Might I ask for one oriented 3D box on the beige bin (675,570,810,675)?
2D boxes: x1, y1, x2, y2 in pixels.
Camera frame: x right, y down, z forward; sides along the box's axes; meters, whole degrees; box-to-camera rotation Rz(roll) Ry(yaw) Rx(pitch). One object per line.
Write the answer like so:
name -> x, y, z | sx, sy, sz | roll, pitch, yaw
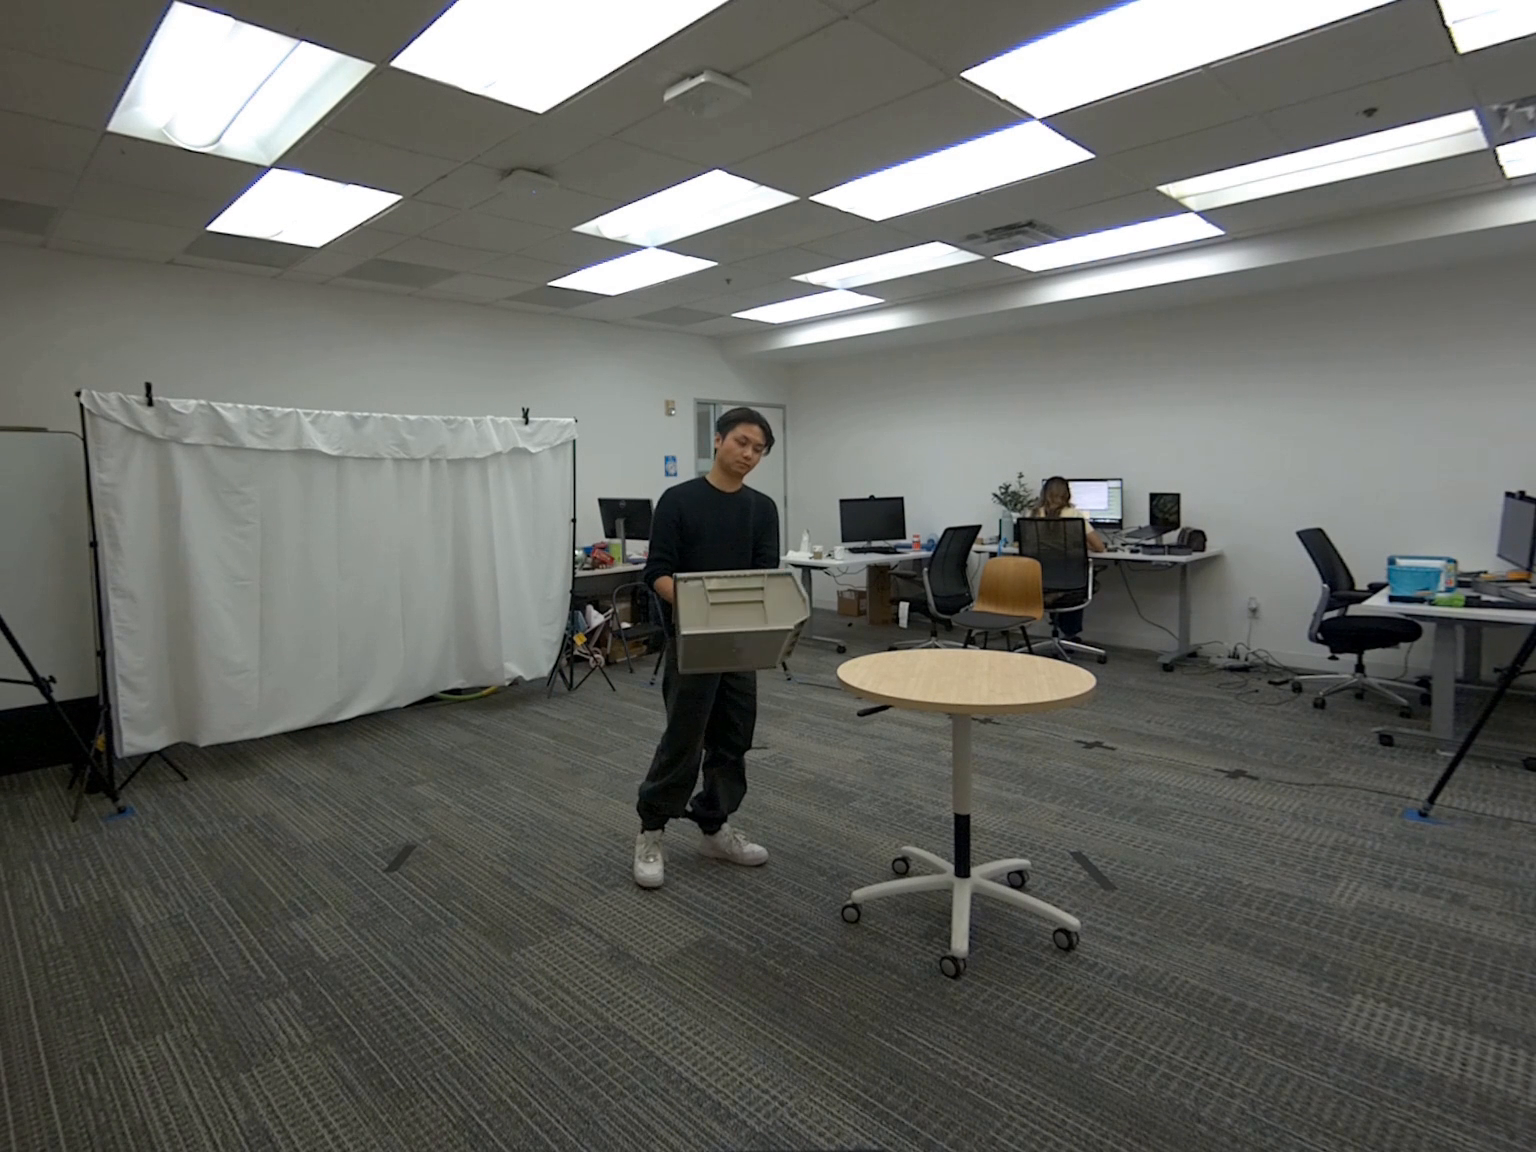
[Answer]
beige bin -> -0.096, 0.153, 2.578 | 0.375, 0.193, 0.416 | -2, -21, -8
